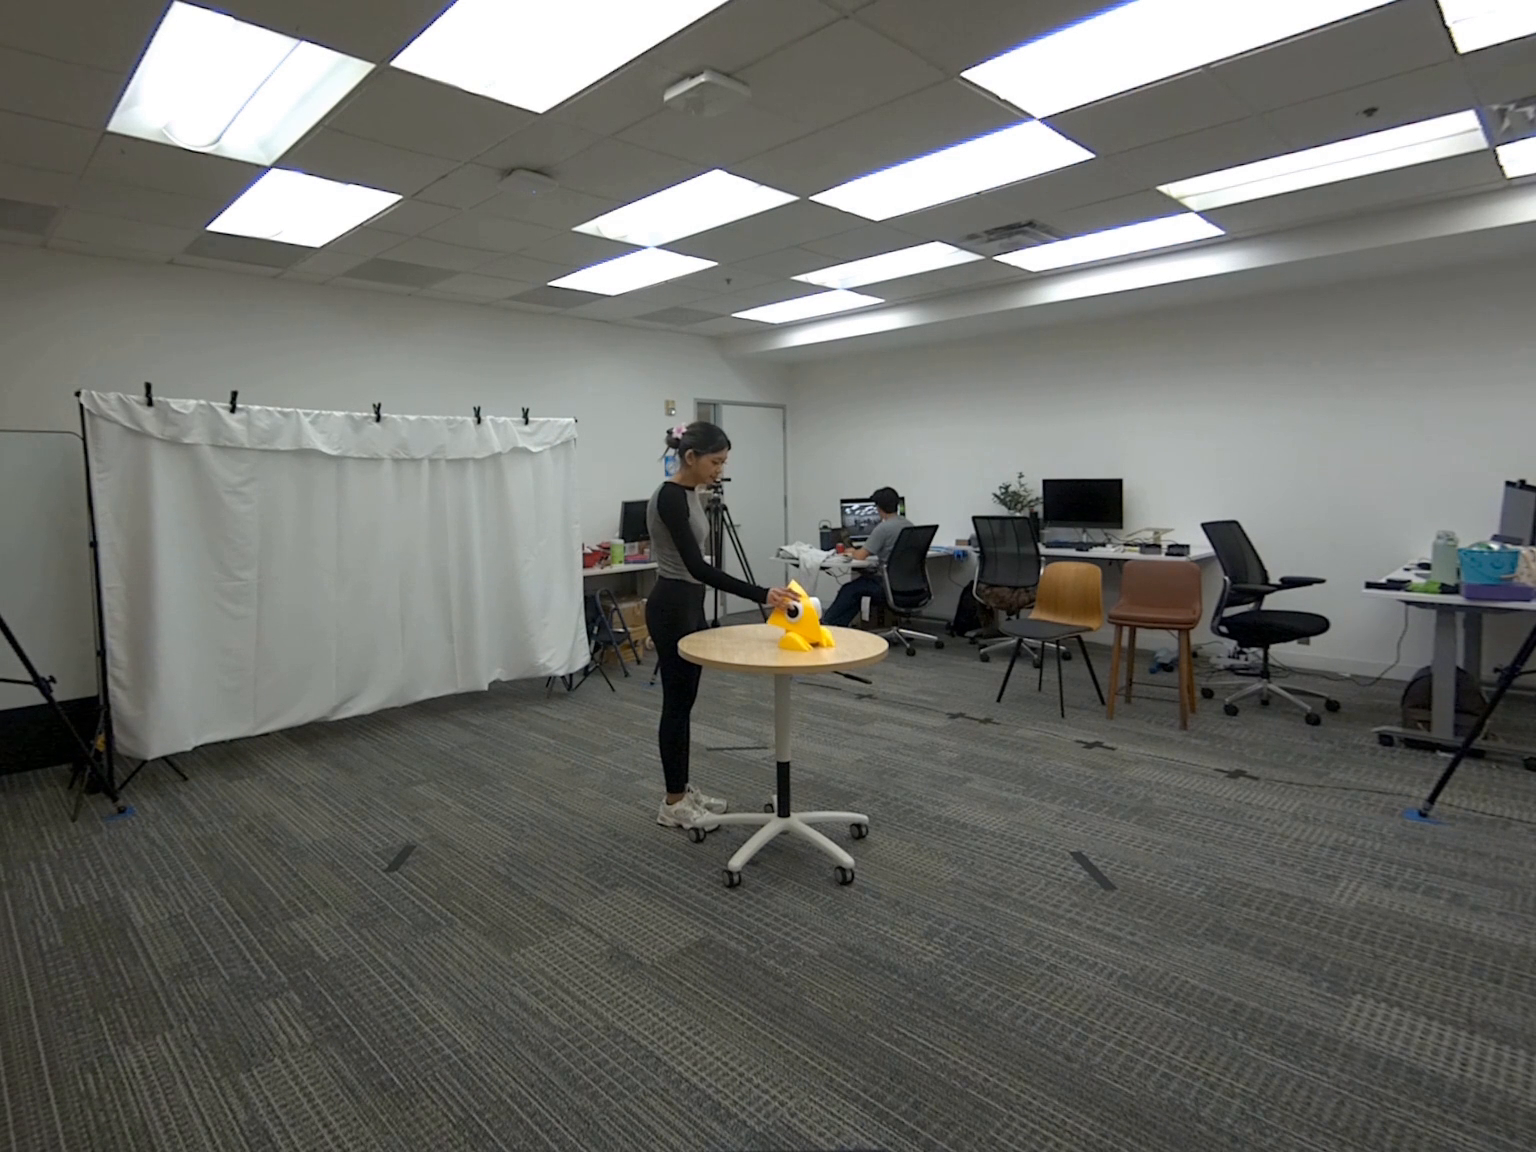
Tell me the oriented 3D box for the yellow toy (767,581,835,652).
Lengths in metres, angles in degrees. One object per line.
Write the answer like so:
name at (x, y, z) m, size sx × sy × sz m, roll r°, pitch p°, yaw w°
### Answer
yellow toy at (0.136, 0.135, 3.079) m, size 0.199 × 0.230 × 0.199 m, roll -4°, pitch 6°, yaw -38°
